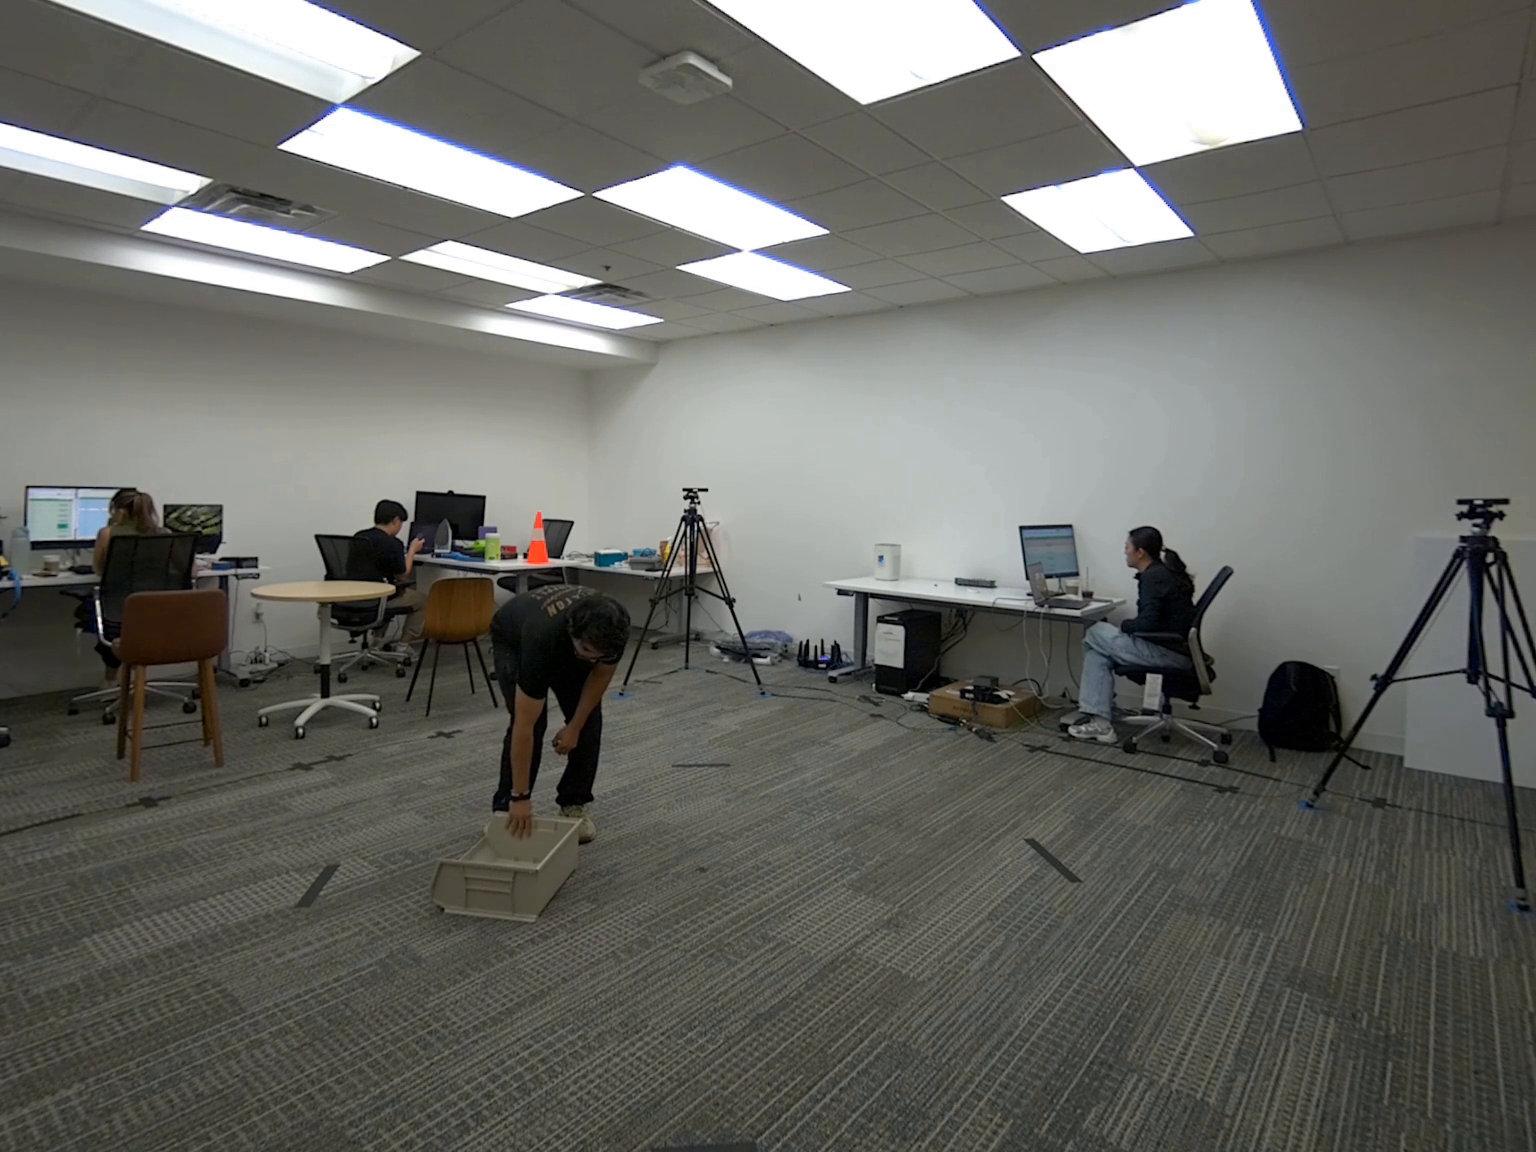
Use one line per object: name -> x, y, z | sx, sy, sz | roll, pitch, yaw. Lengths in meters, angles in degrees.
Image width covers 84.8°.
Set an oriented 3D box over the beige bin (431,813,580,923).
beige bin -> -0.900, 0.982, 2.930 | 0.381, 0.188, 0.419 | 4, 4, 9
